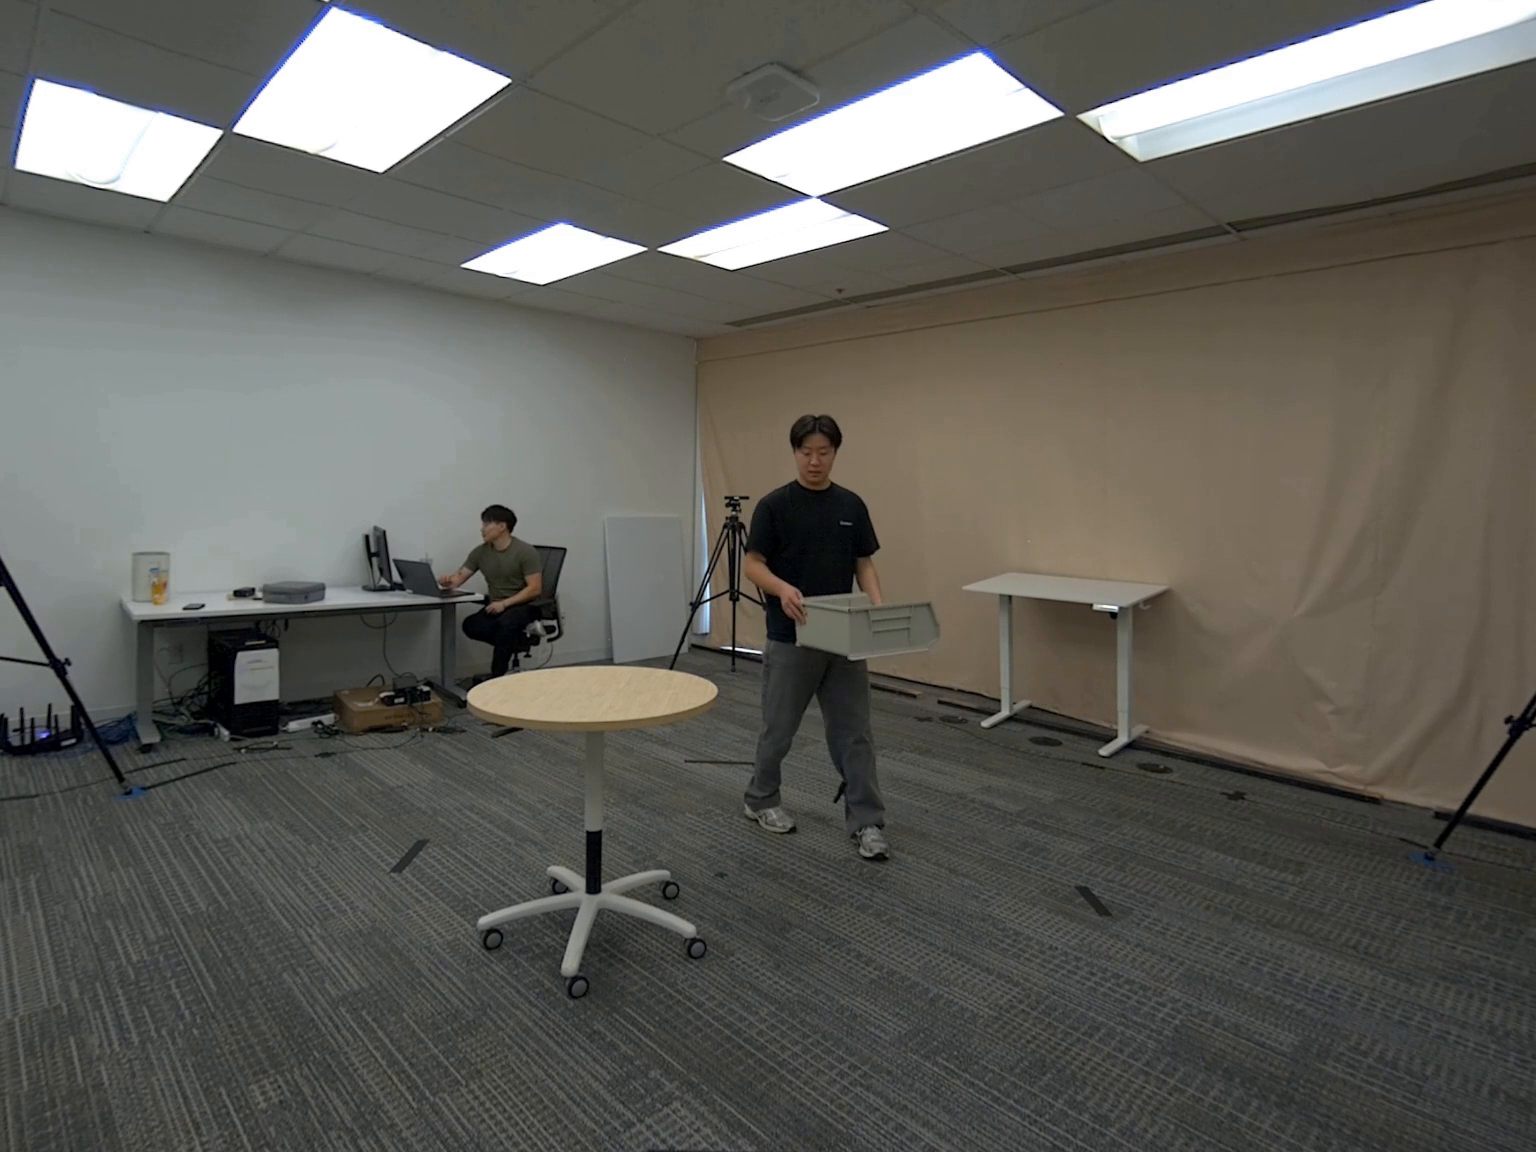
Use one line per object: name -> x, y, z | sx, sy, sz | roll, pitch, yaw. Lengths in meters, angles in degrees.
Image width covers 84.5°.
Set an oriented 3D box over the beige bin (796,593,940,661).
beige bin -> 0.344, 0.171, 3.081 | 0.371, 0.188, 0.431 | -6, 6, -25
